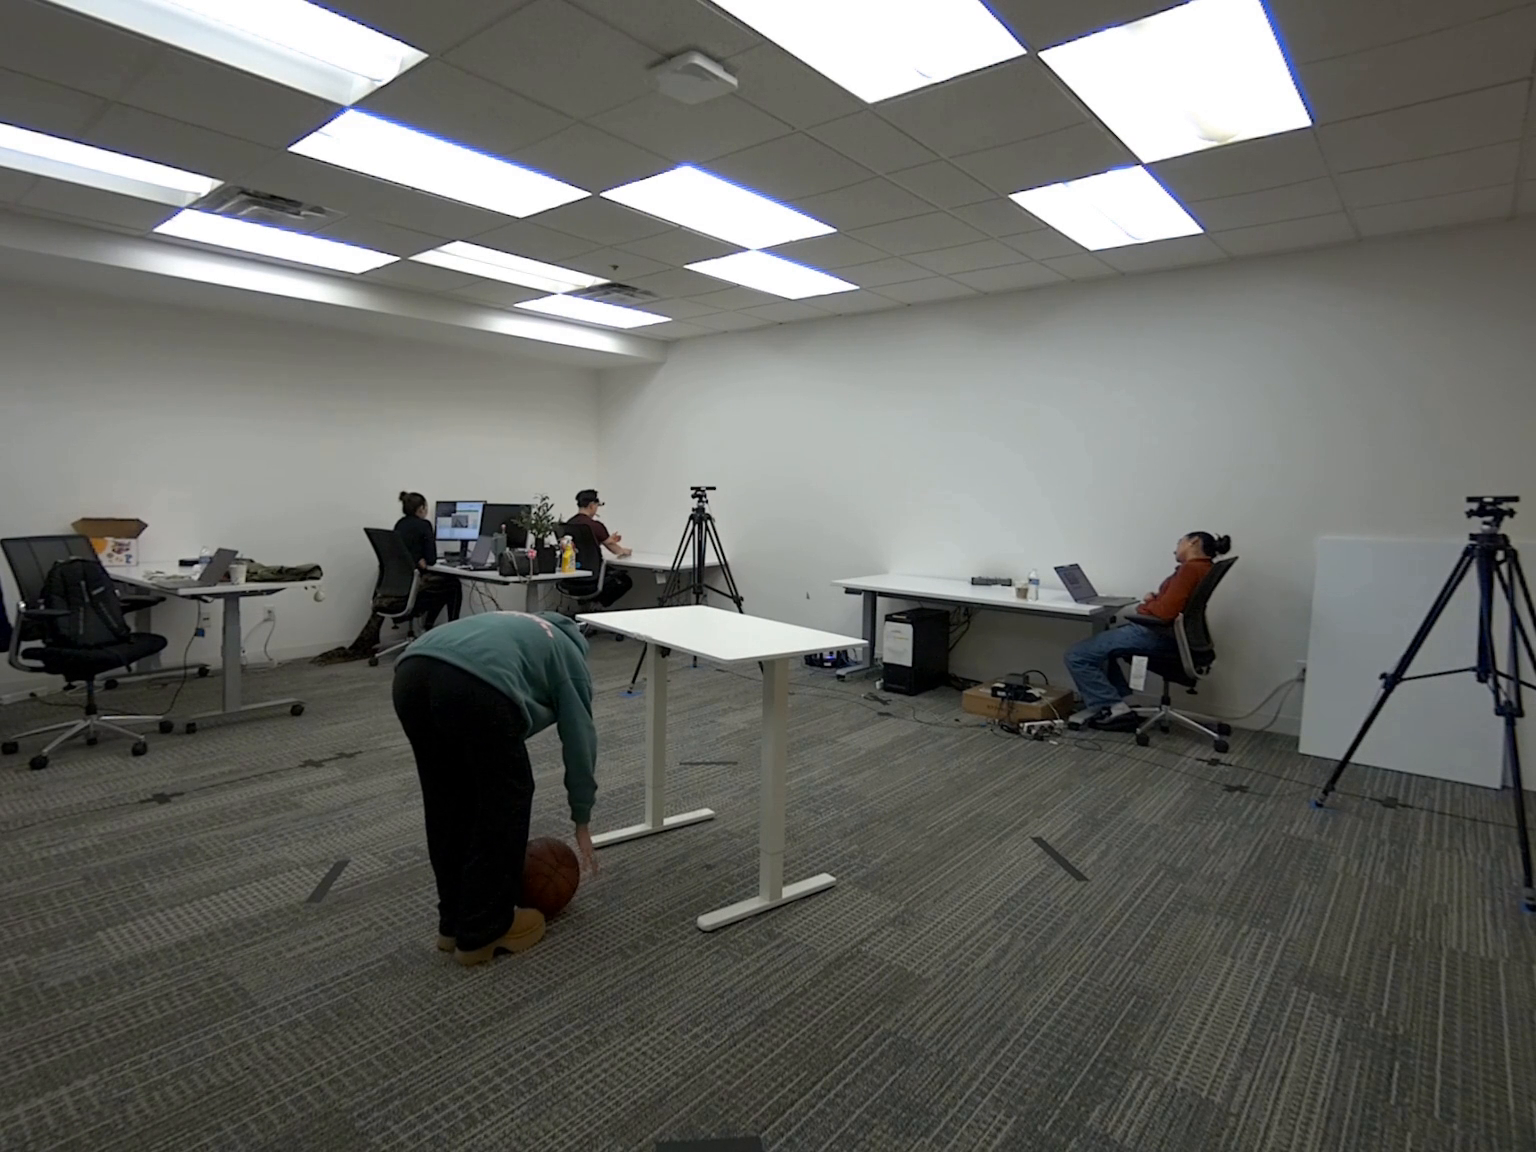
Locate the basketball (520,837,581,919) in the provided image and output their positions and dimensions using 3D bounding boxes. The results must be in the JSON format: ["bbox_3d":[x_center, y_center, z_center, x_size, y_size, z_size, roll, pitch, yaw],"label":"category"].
[{"bbox_3d":[-0.730,0.967,2.761,0.235,0.235,0.237,1,4,-2],"label":"basketball"}]
